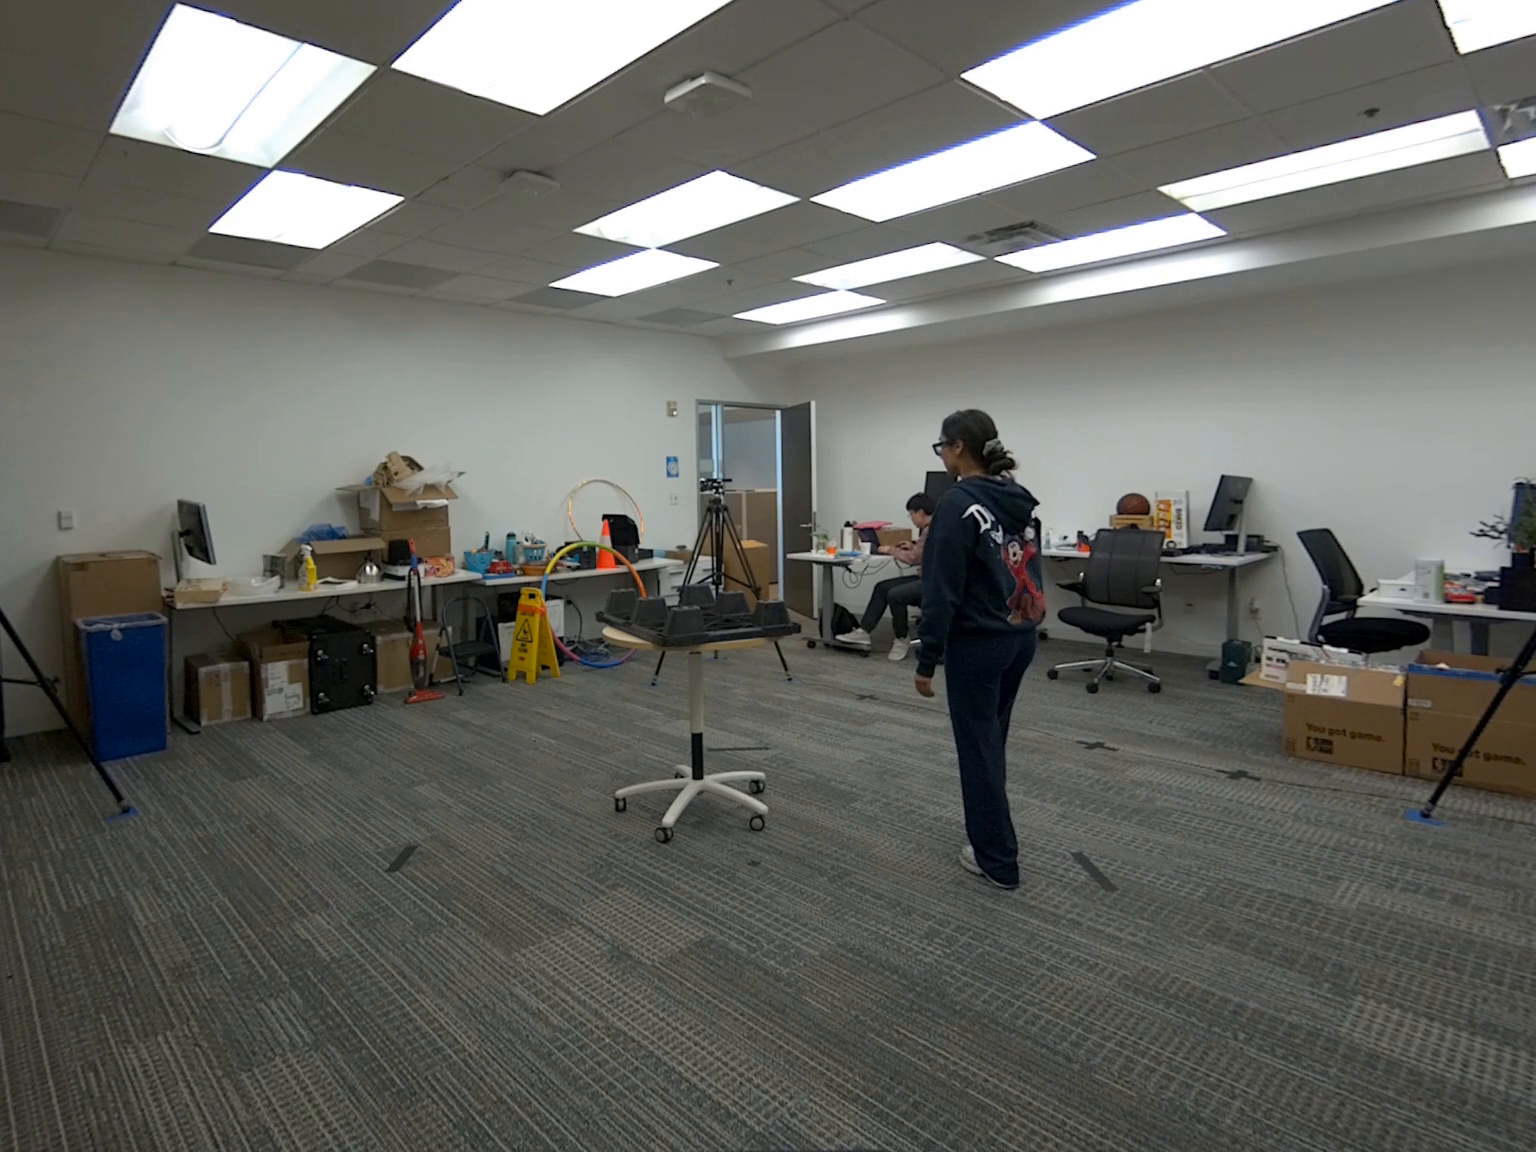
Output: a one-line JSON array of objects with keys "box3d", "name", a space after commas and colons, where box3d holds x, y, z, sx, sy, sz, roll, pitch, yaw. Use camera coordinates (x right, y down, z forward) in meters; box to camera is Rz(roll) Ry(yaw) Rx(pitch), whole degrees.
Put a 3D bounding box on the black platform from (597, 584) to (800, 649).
[{"box3d": [-0.322, 0.149, 3.594, 0.591, 0.143, 0.827, -4, 6, -28], "name": "black platform"}]
